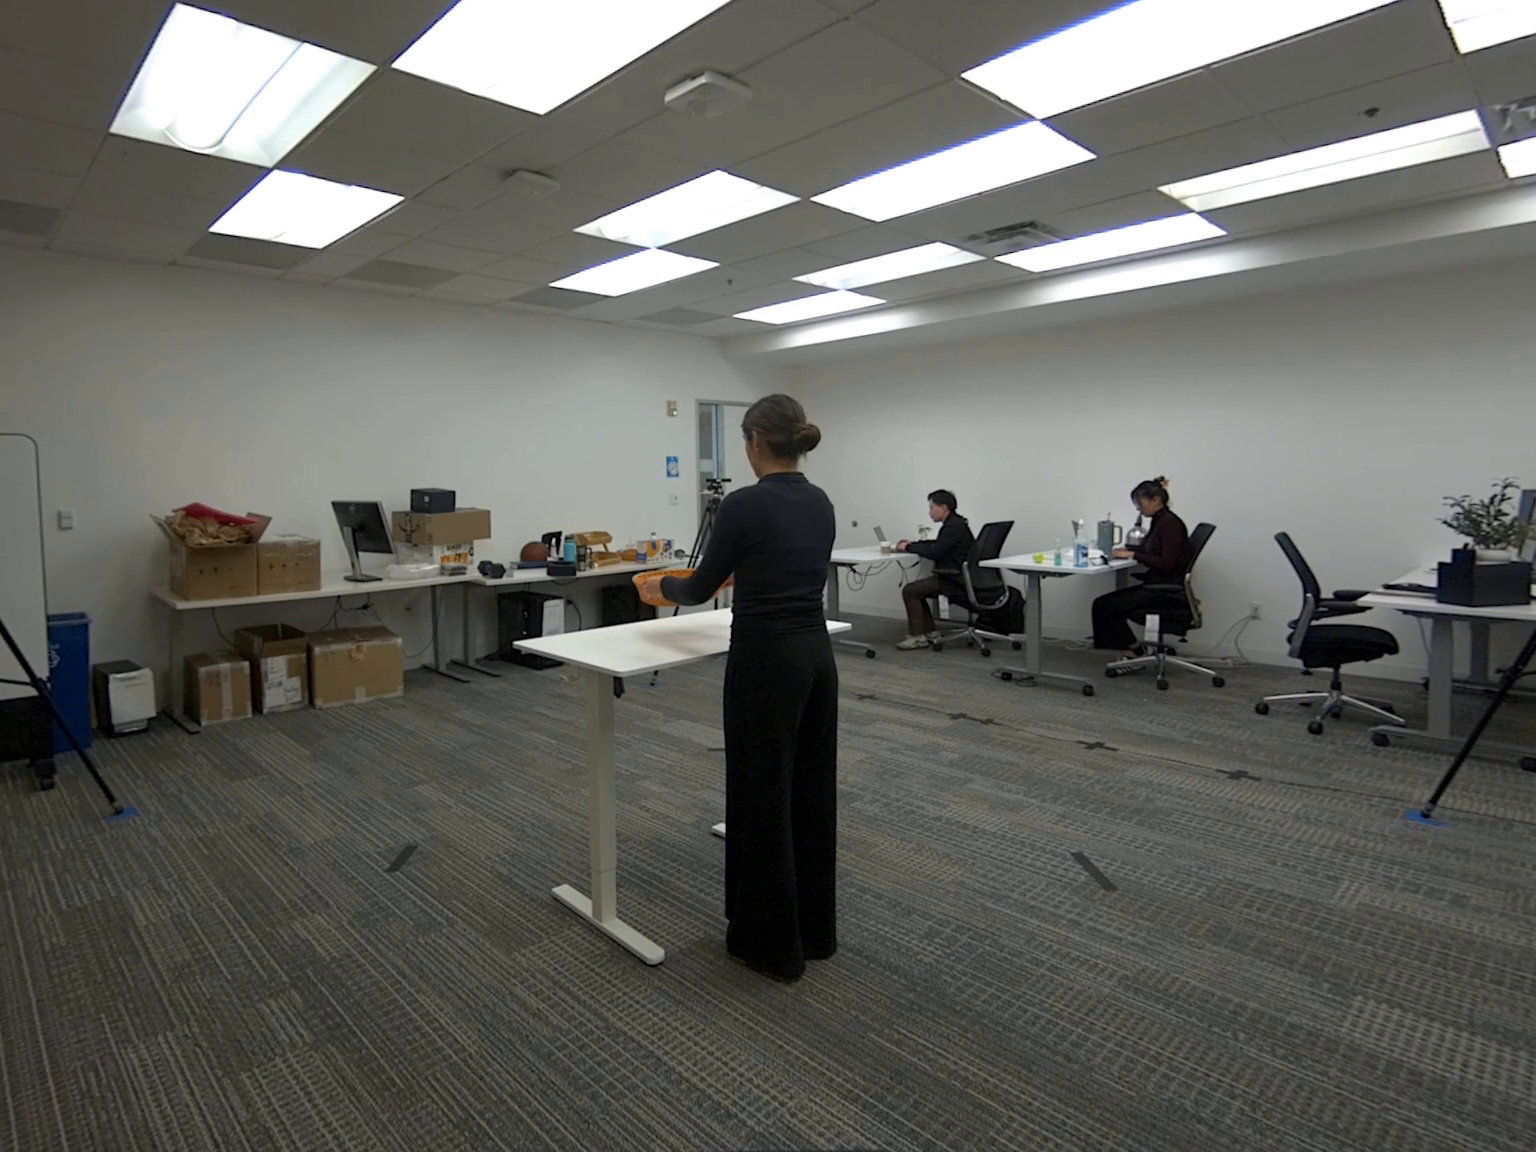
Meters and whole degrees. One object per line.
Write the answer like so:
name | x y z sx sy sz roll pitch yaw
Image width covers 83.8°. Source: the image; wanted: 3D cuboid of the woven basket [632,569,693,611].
woven basket | -0.270 0.042 2.832 0.341 0.073 0.261 -5 11 -41
